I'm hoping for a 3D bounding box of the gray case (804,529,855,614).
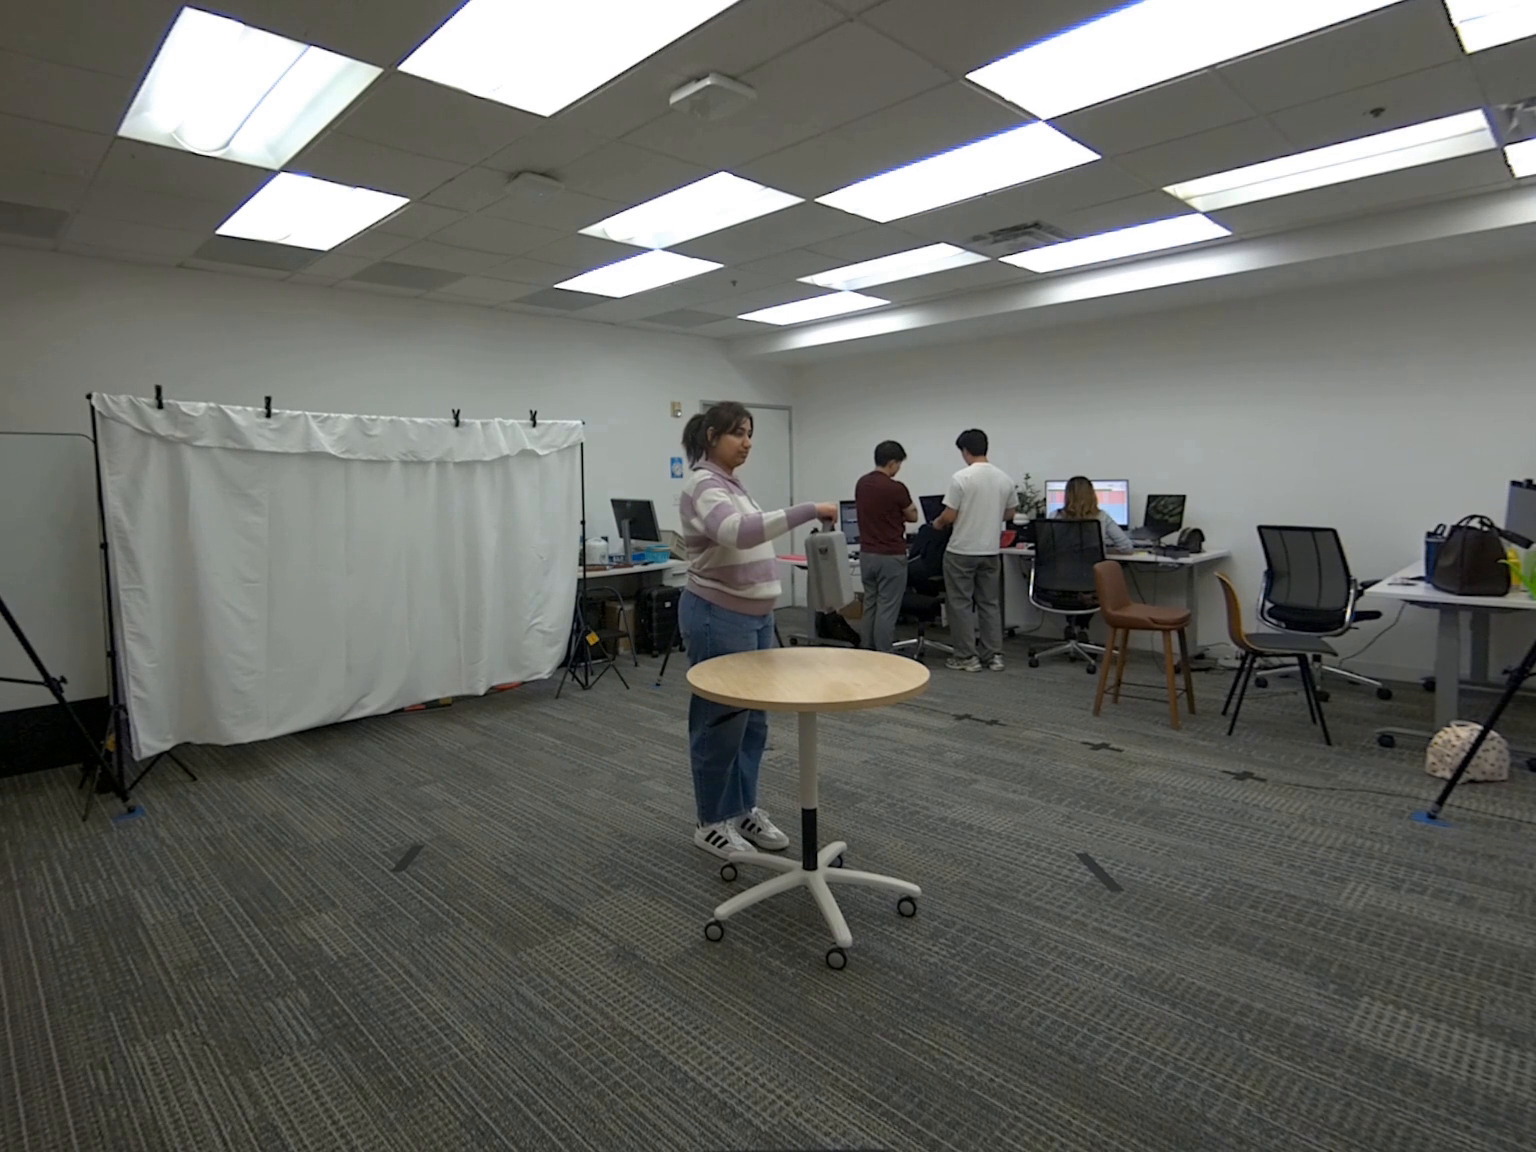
[{"bbox_3d":[0.209,-0.017,2.851,0.105,0.260,0.254,-7,3,14],"label":"gray case"}]
